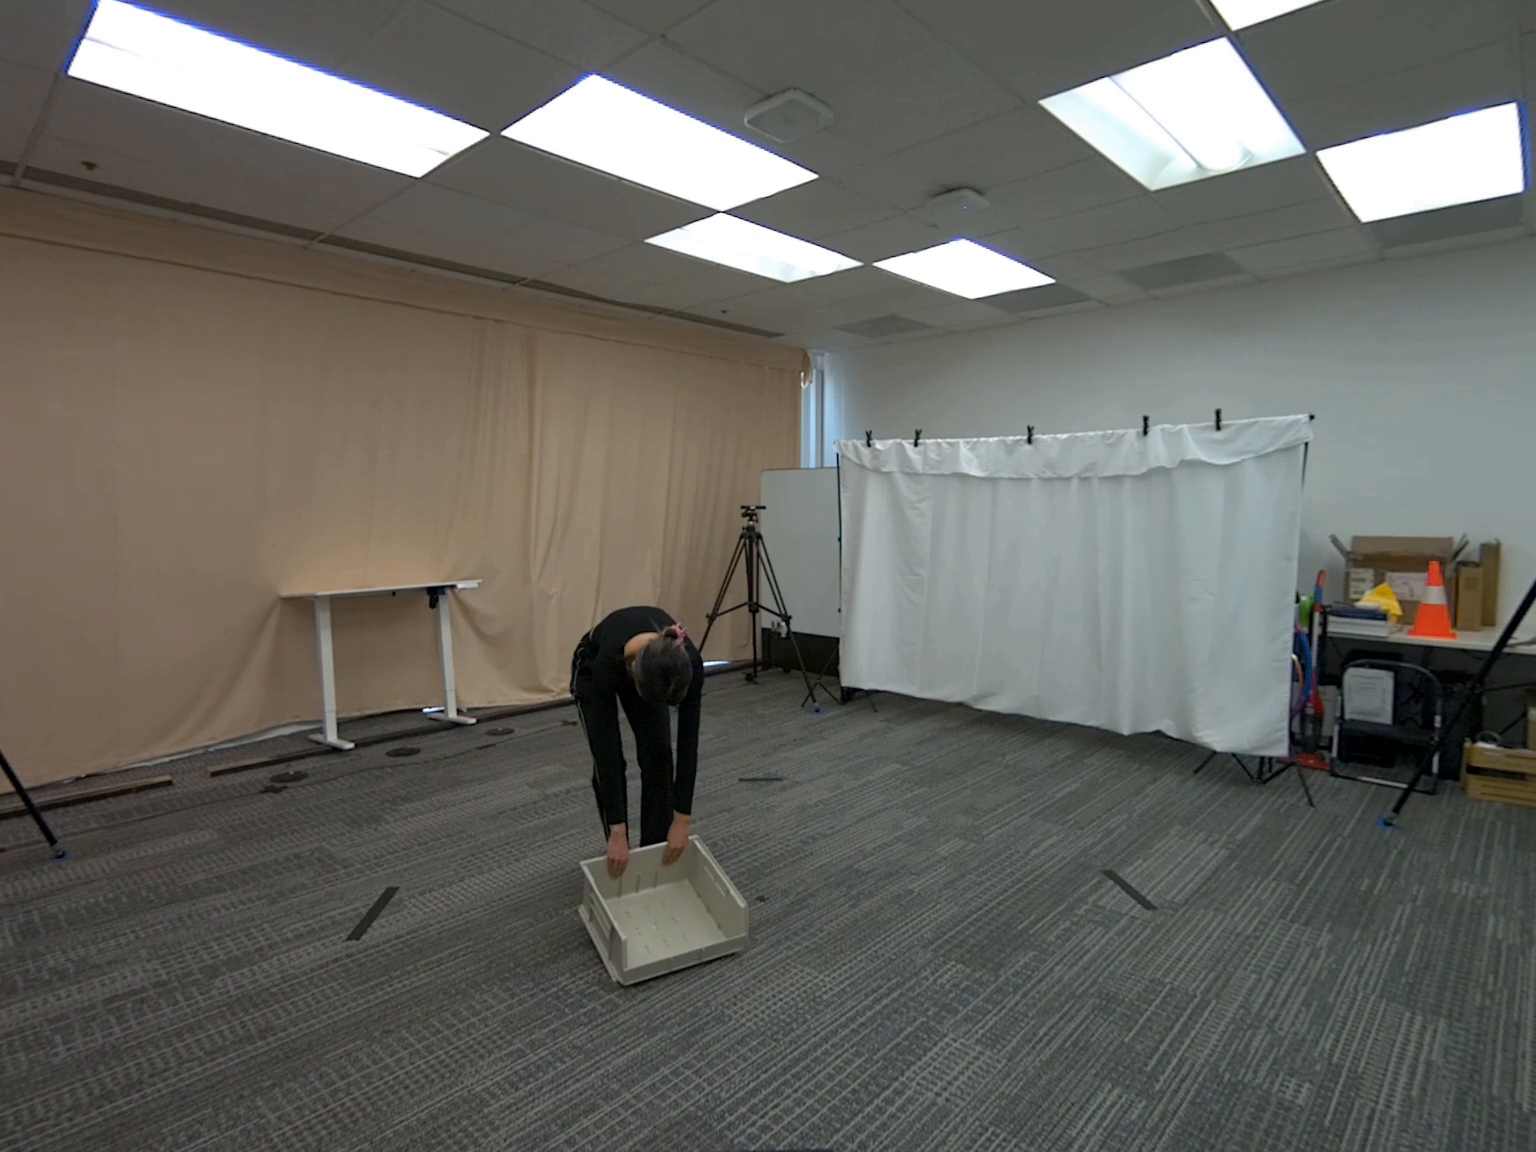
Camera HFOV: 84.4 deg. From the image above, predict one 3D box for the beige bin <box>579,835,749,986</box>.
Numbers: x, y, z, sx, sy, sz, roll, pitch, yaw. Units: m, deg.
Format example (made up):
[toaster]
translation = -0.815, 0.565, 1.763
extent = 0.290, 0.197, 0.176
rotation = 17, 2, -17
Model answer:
[beige bin]
translation = -0.330, 1.045, 2.646
extent = 0.411, 0.187, 0.391
rotation = -4, 22, -31
